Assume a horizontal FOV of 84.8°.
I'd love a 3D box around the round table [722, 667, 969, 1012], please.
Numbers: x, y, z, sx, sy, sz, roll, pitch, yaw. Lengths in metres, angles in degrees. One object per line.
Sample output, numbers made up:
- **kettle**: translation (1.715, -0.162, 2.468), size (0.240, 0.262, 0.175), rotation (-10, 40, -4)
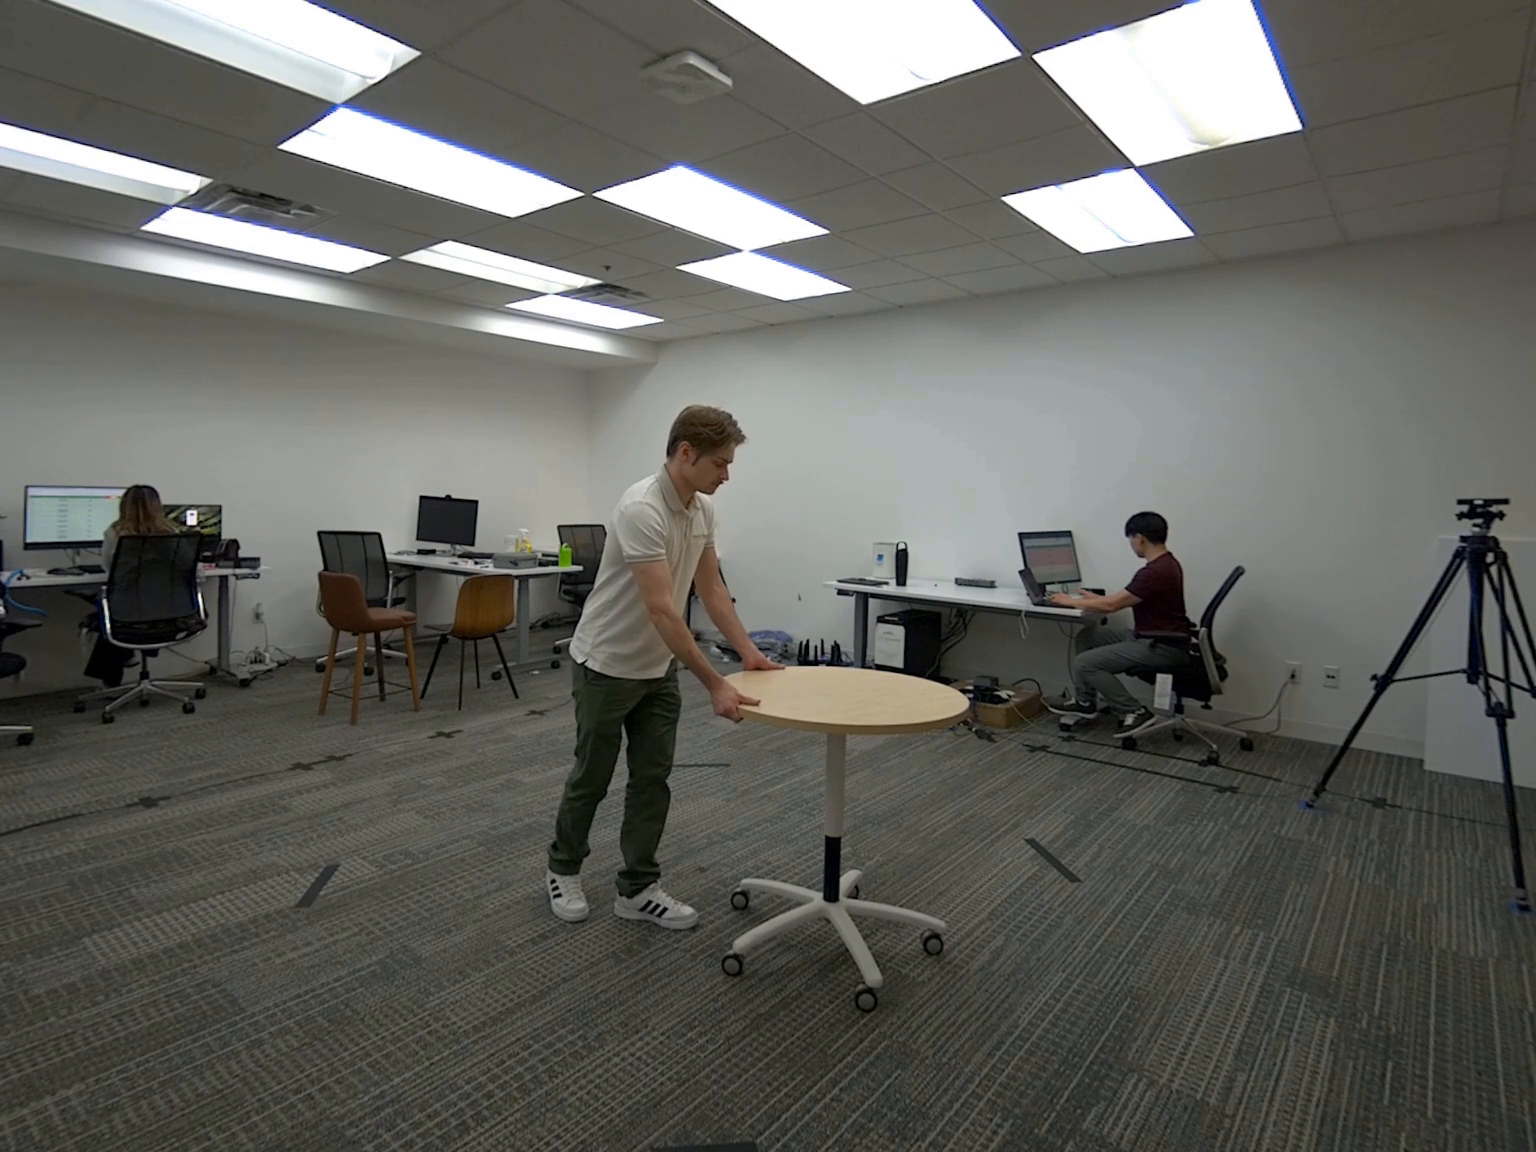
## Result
- **round table**: translation (0.175, 0.735, 2.594), size (0.784, 0.784, 0.789), rotation (2, 4, -2)
